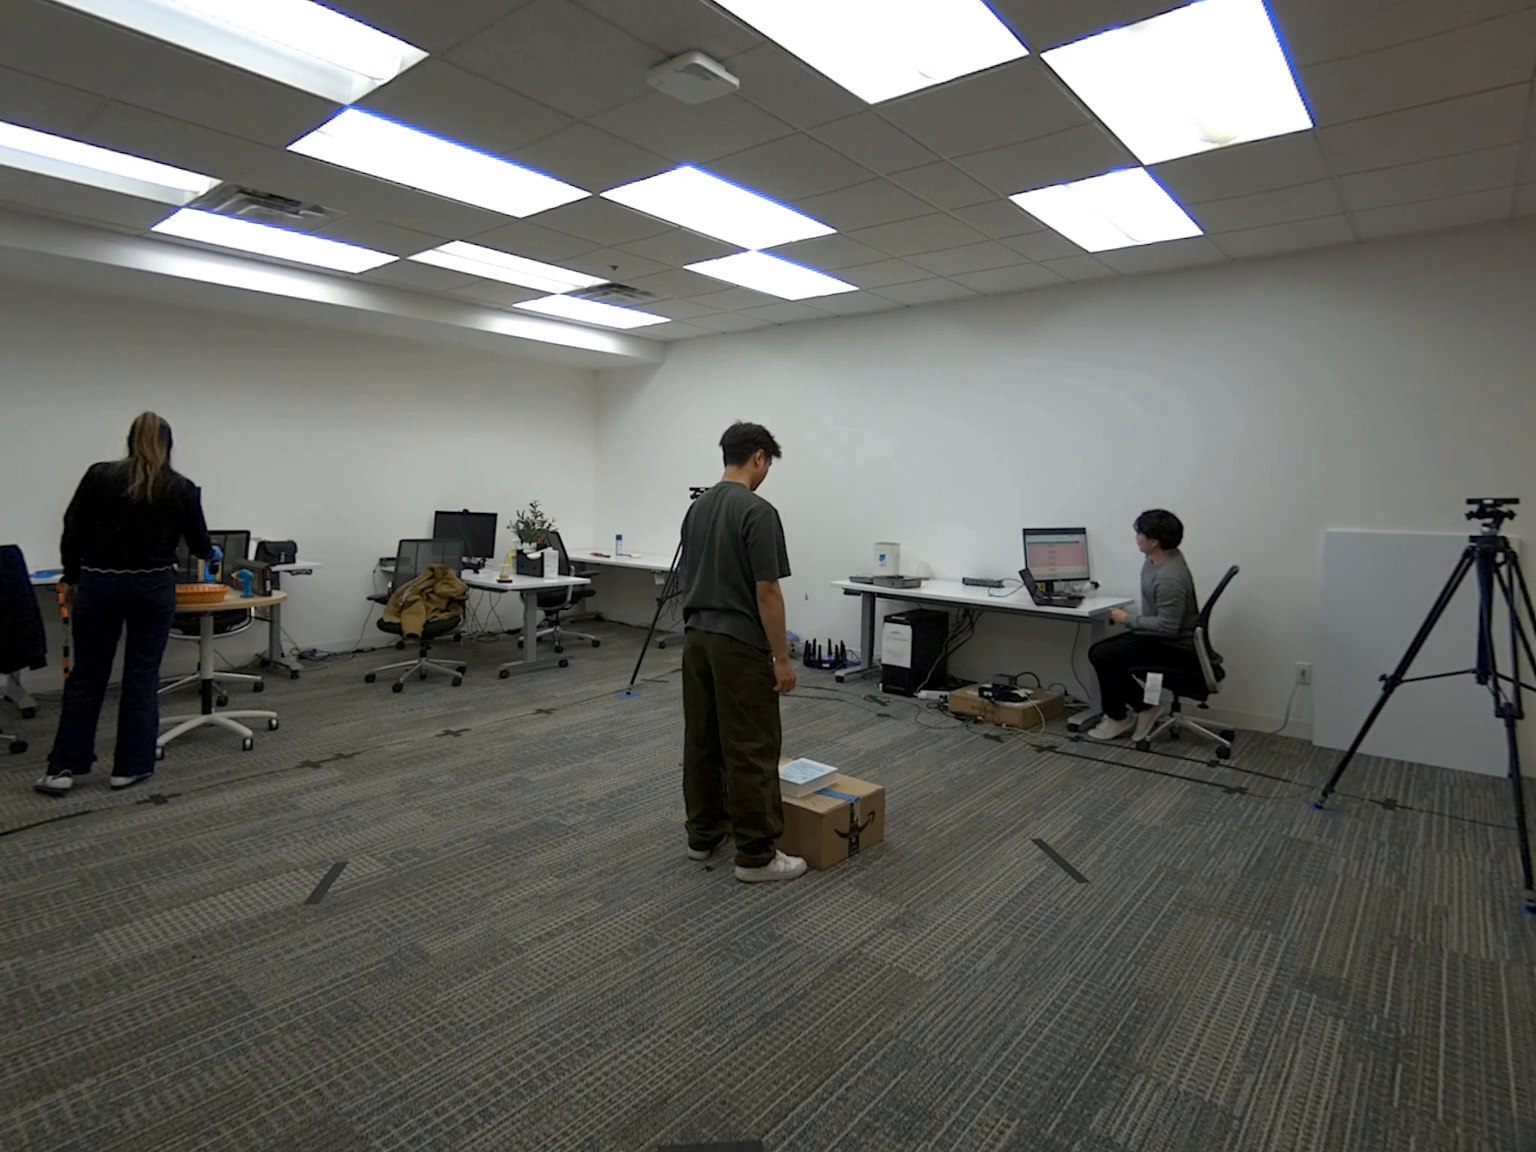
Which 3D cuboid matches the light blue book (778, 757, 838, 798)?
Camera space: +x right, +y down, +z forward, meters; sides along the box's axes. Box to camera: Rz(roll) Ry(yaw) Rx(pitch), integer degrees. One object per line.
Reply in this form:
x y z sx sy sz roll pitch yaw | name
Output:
0.121 0.803 3.420 0.198 0.059 0.253 7 8 40 | light blue book
